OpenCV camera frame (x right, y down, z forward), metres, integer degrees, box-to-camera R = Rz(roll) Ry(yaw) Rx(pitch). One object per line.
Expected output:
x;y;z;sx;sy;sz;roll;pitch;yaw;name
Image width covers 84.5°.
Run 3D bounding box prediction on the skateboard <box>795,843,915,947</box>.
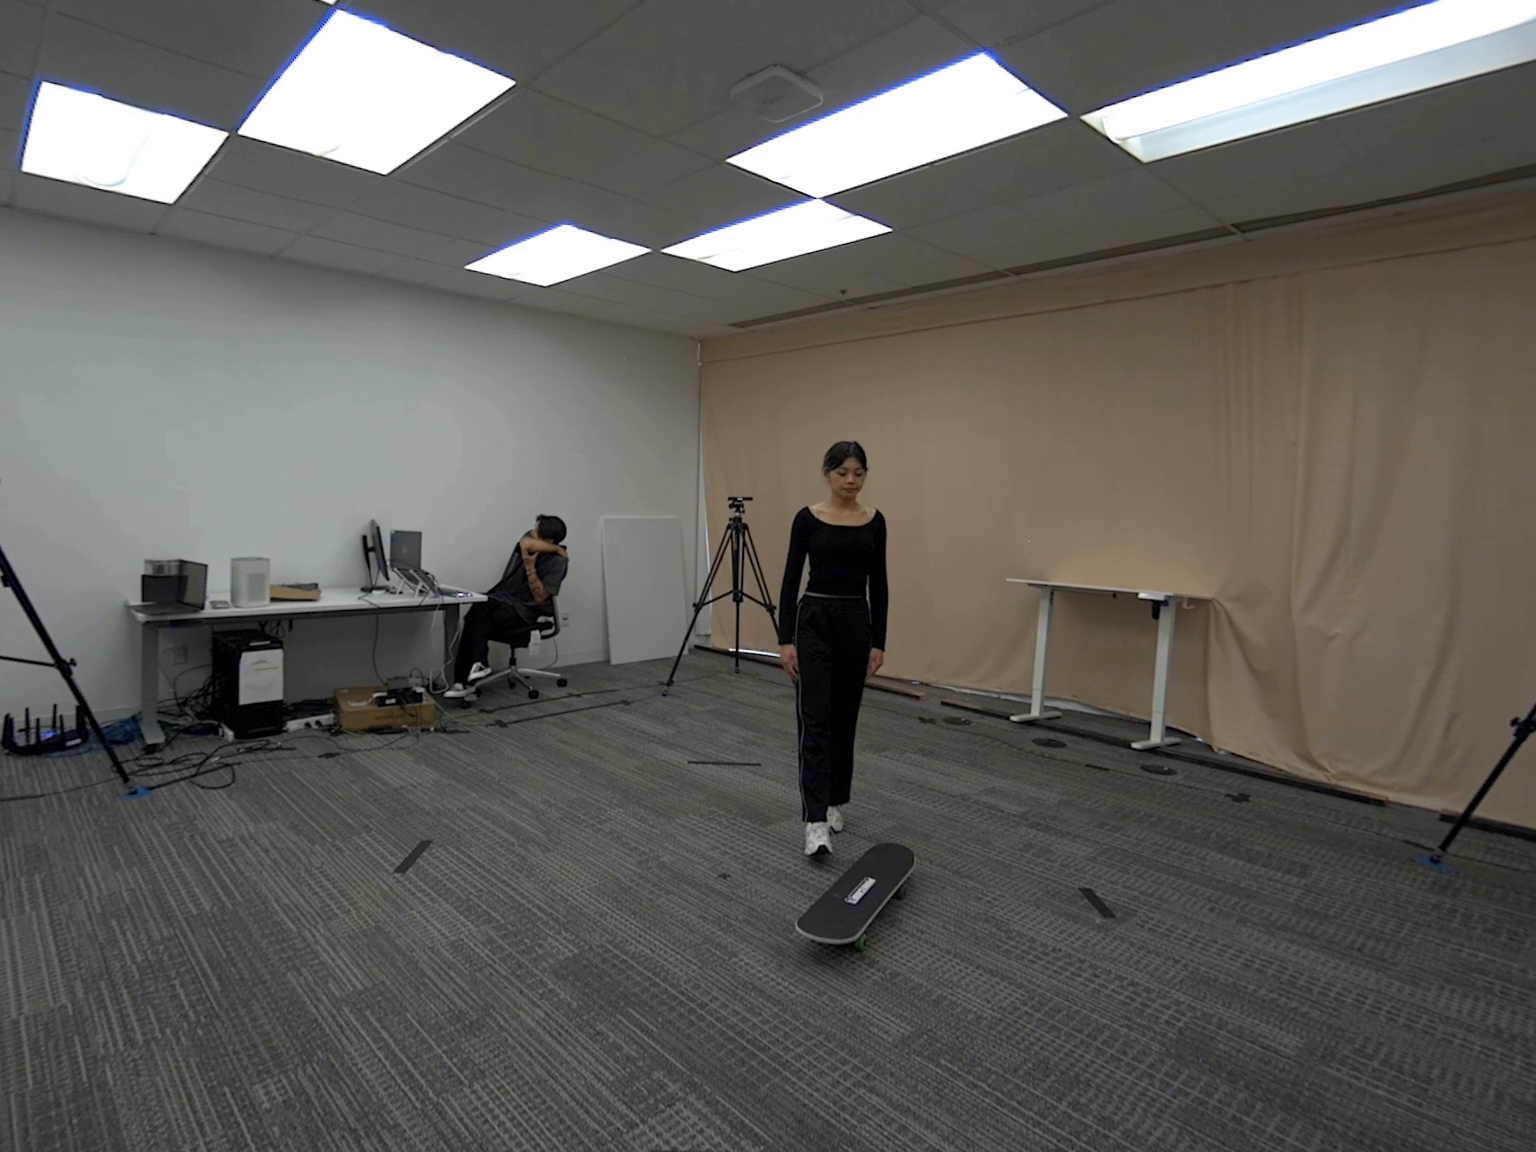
0.299;1.085;2.820;0.197;0.110;0.771;4;6;27;skateboard
